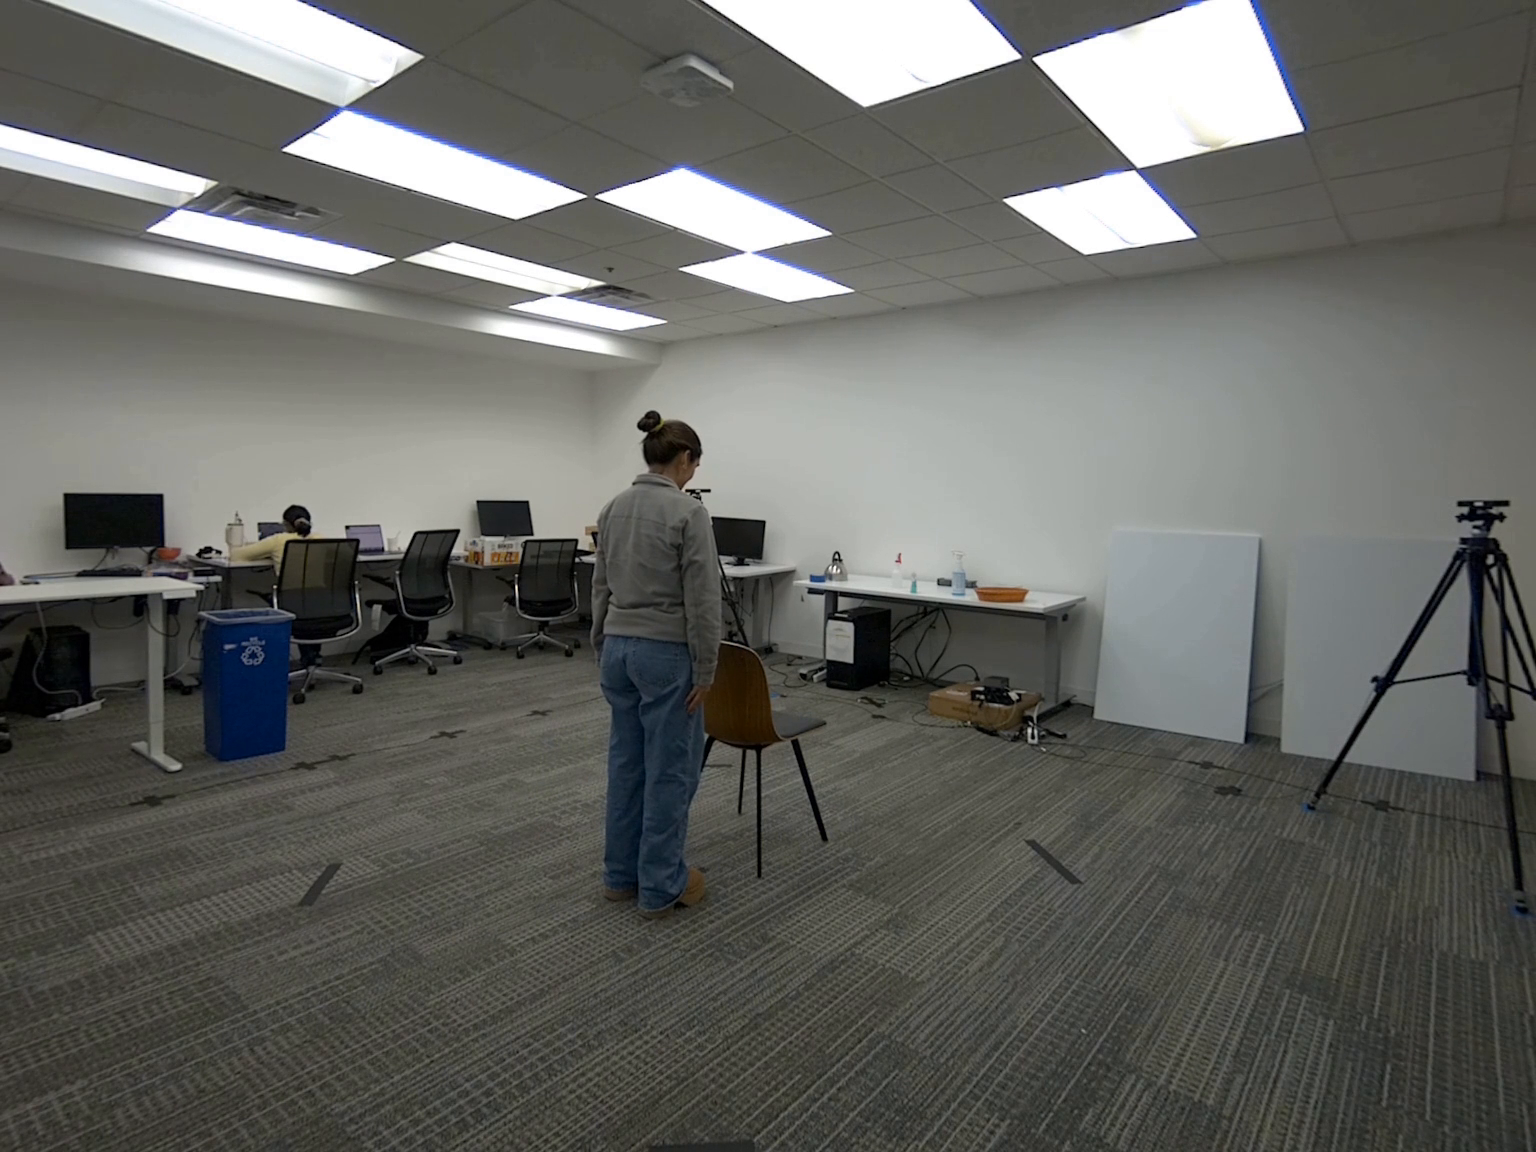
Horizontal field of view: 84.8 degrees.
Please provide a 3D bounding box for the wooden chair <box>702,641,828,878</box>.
[{"bbox_3d":[-0.072,0.625,3.346,0.494,0.872,0.509,3,8,38],"label":"wooden chair"}]
